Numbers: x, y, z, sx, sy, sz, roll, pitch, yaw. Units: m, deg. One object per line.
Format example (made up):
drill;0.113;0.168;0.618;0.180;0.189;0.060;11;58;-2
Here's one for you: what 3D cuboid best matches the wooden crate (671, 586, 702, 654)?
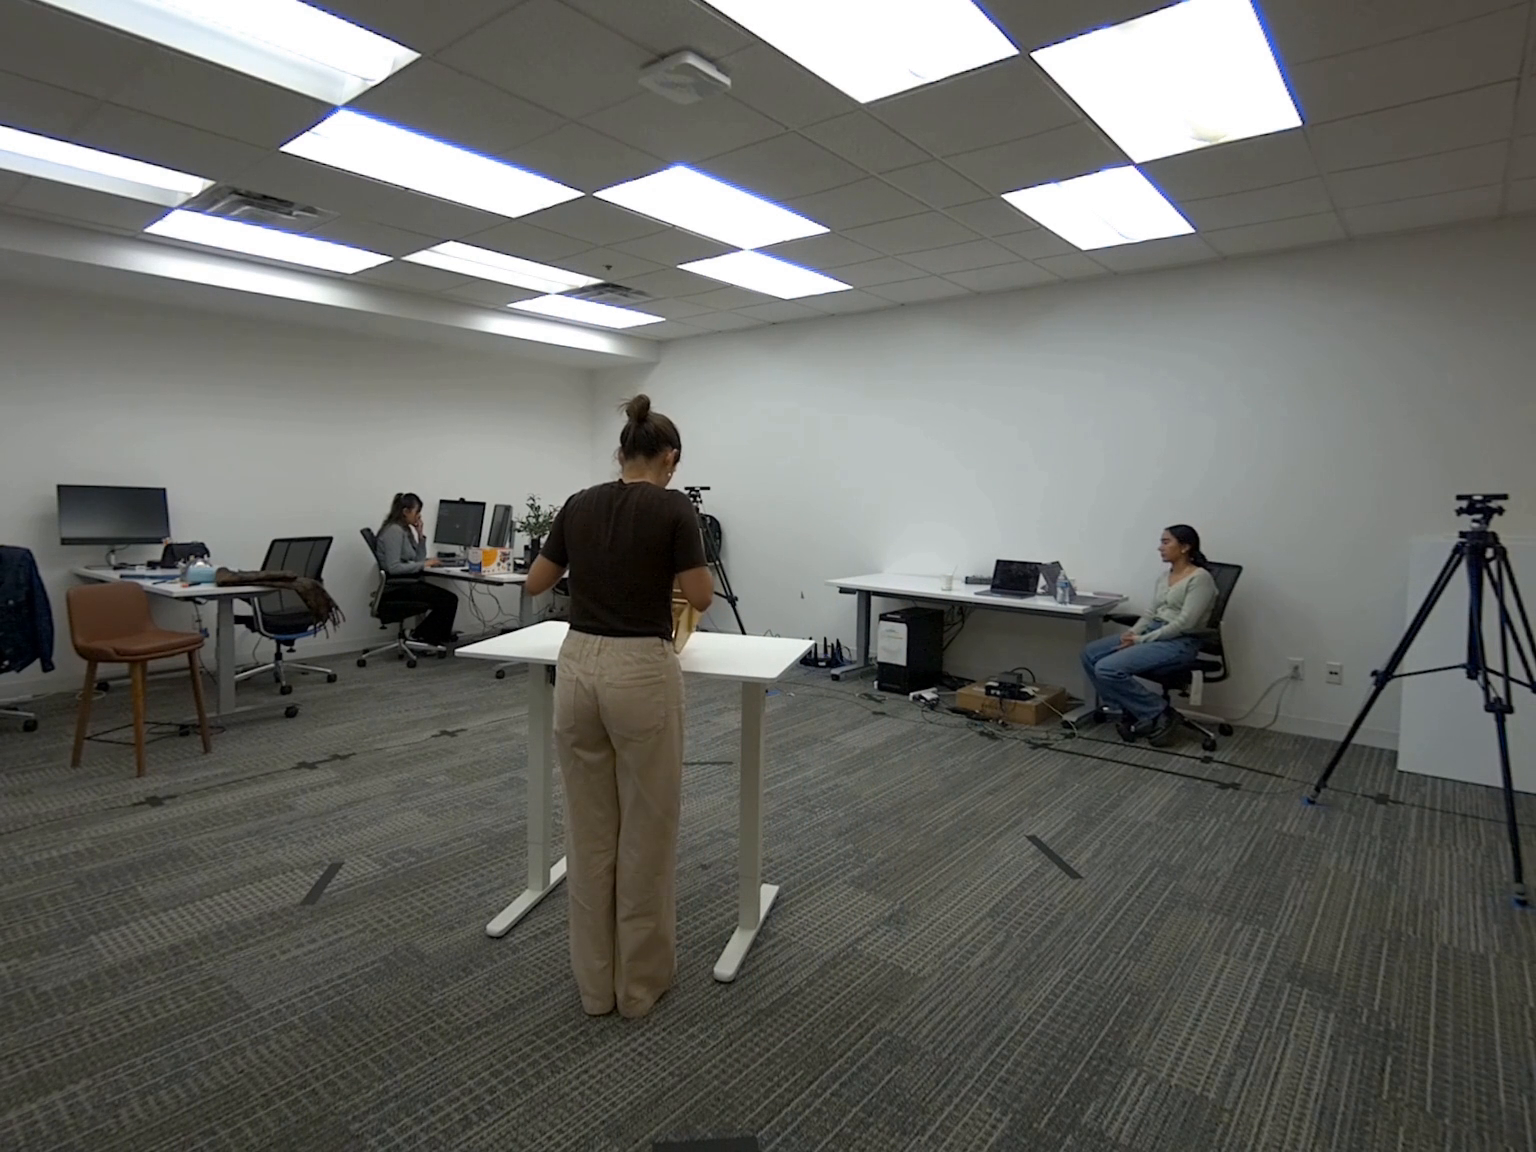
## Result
wooden crate;-0.385;0.033;2.551;0.331;0.266;0.304;5;33;18
